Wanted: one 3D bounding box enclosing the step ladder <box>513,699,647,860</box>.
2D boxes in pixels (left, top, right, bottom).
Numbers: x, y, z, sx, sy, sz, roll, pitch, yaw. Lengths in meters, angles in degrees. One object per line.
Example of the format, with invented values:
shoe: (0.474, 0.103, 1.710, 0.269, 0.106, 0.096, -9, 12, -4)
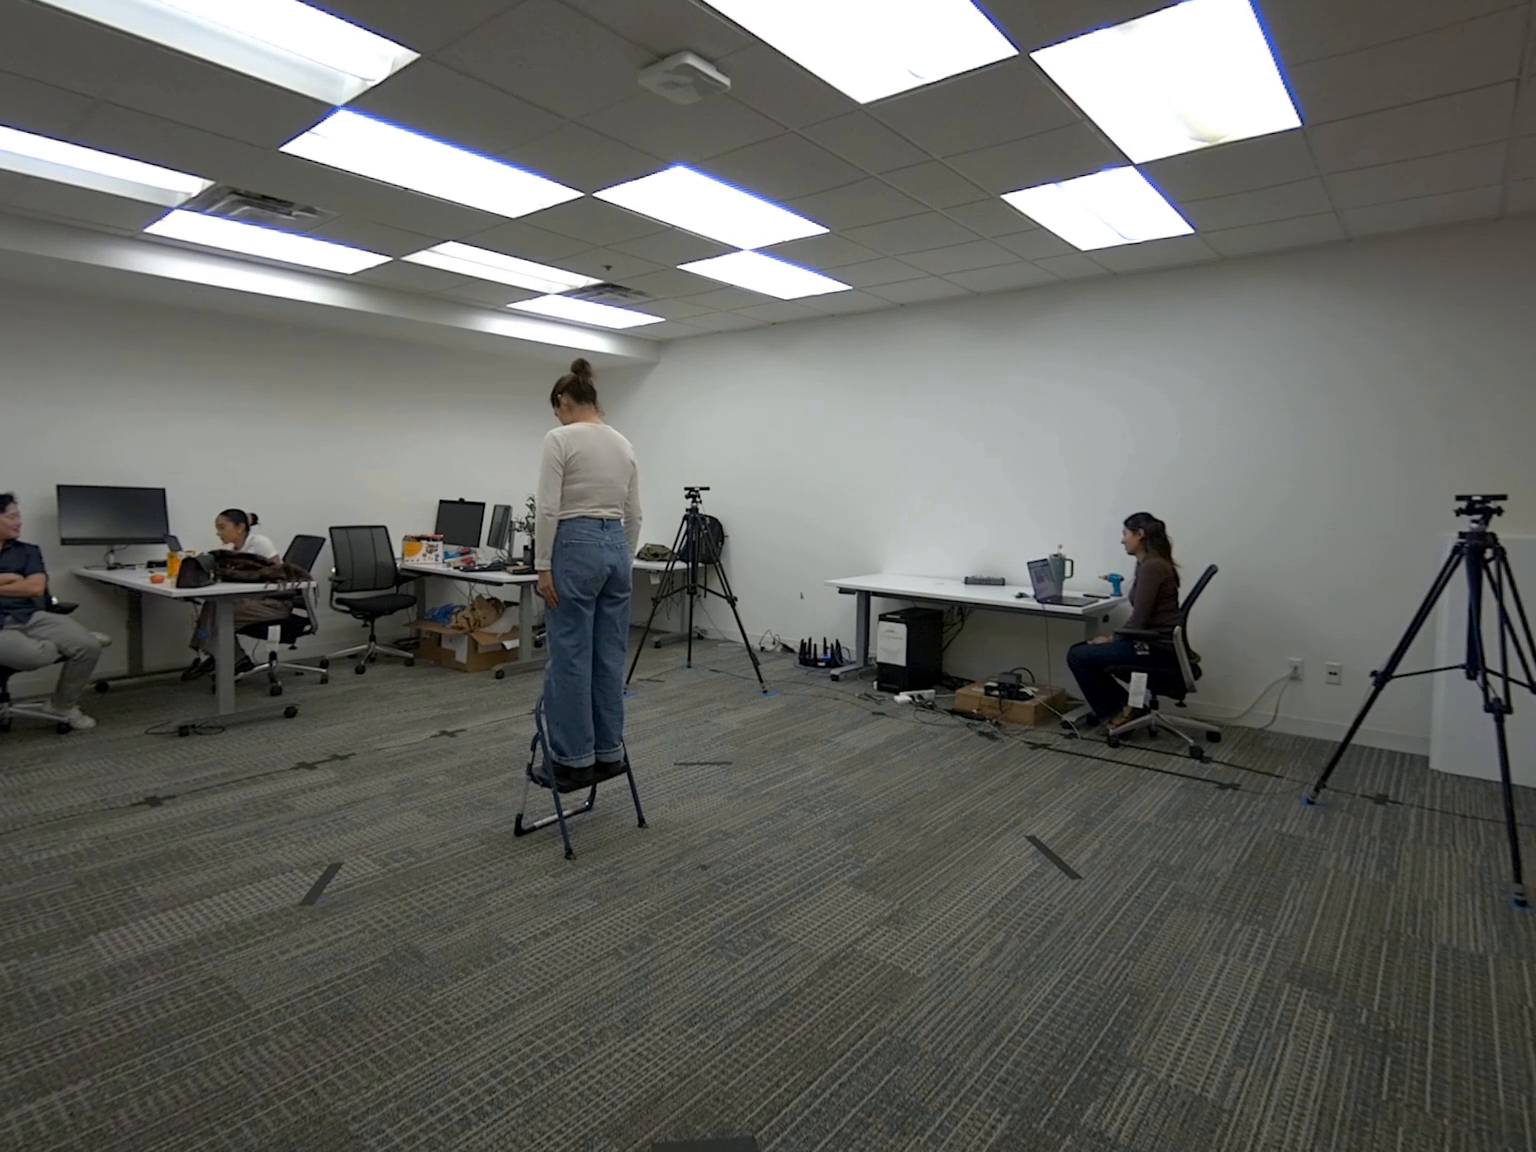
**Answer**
step ladder: (-0.760, 0.726, 3.422, 0.360, 0.605, 0.418, 3, 3, 36)
